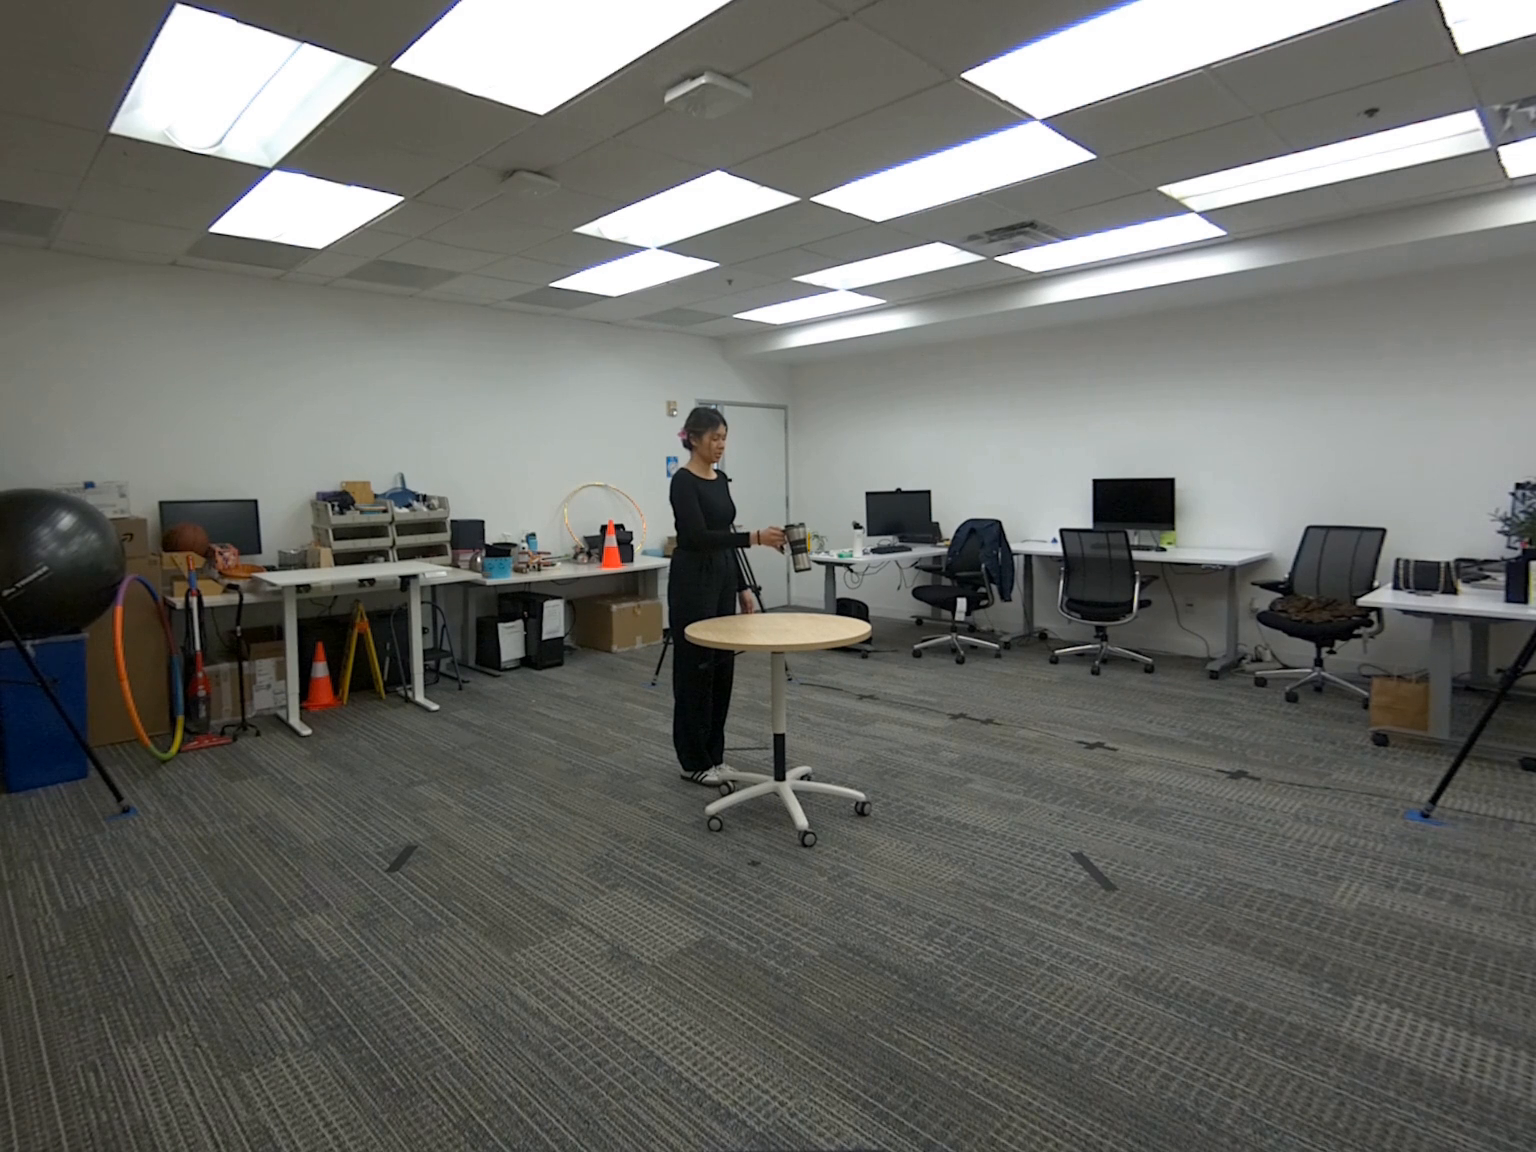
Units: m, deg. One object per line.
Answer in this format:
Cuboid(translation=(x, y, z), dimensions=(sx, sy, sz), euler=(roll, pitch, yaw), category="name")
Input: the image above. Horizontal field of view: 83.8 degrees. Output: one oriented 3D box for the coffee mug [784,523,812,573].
Cuboid(translation=(0.108, -0.112, 3.547), dimensions=(0.086, 0.203, 0.125), euler=(-10, 2, -40), category="coffee mug")
